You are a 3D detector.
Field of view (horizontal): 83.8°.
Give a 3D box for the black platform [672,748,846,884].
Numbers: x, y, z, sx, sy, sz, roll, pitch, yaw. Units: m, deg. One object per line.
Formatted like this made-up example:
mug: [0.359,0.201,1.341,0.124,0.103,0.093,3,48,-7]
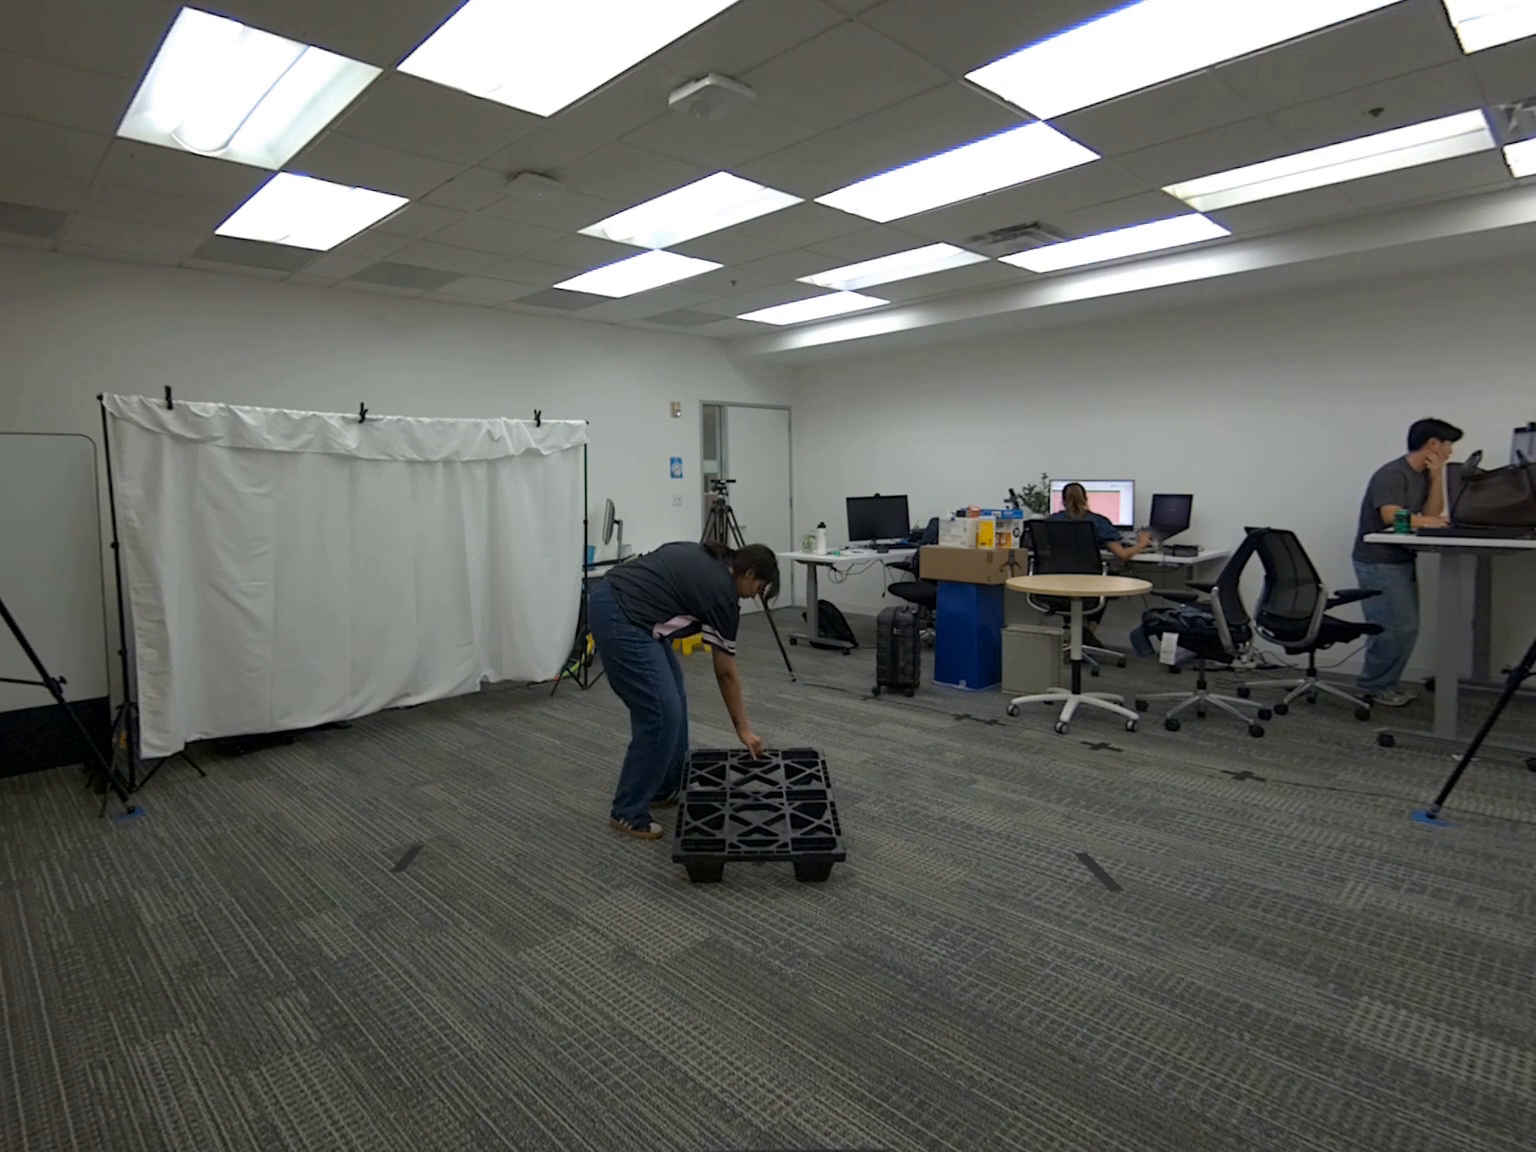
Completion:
black platform: [-0.045,0.909,3.306,0.605,0.141,0.815,-2,14,0]
